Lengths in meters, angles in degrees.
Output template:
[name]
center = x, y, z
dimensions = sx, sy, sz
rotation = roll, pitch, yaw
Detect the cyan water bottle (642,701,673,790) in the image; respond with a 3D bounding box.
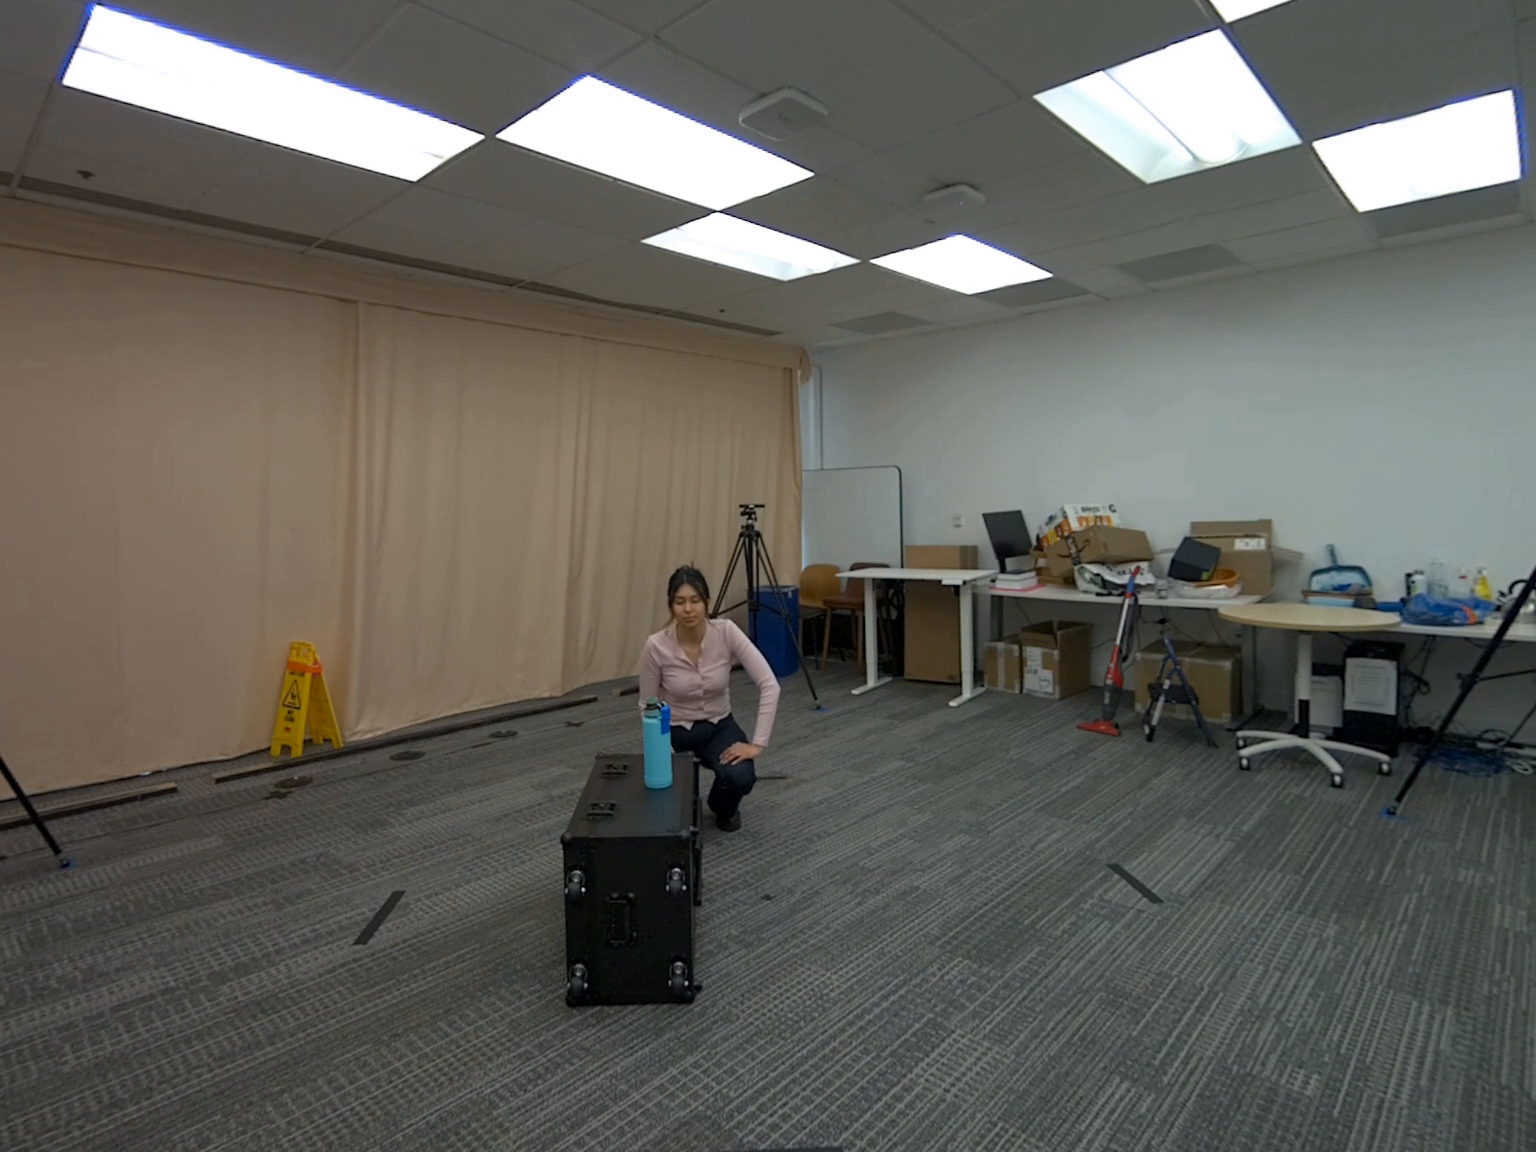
[cyan water bottle]
center = -0.364, 0.542, 2.759
dimensions = 0.092, 0.283, 0.092
rotation = -1, 2, -2
